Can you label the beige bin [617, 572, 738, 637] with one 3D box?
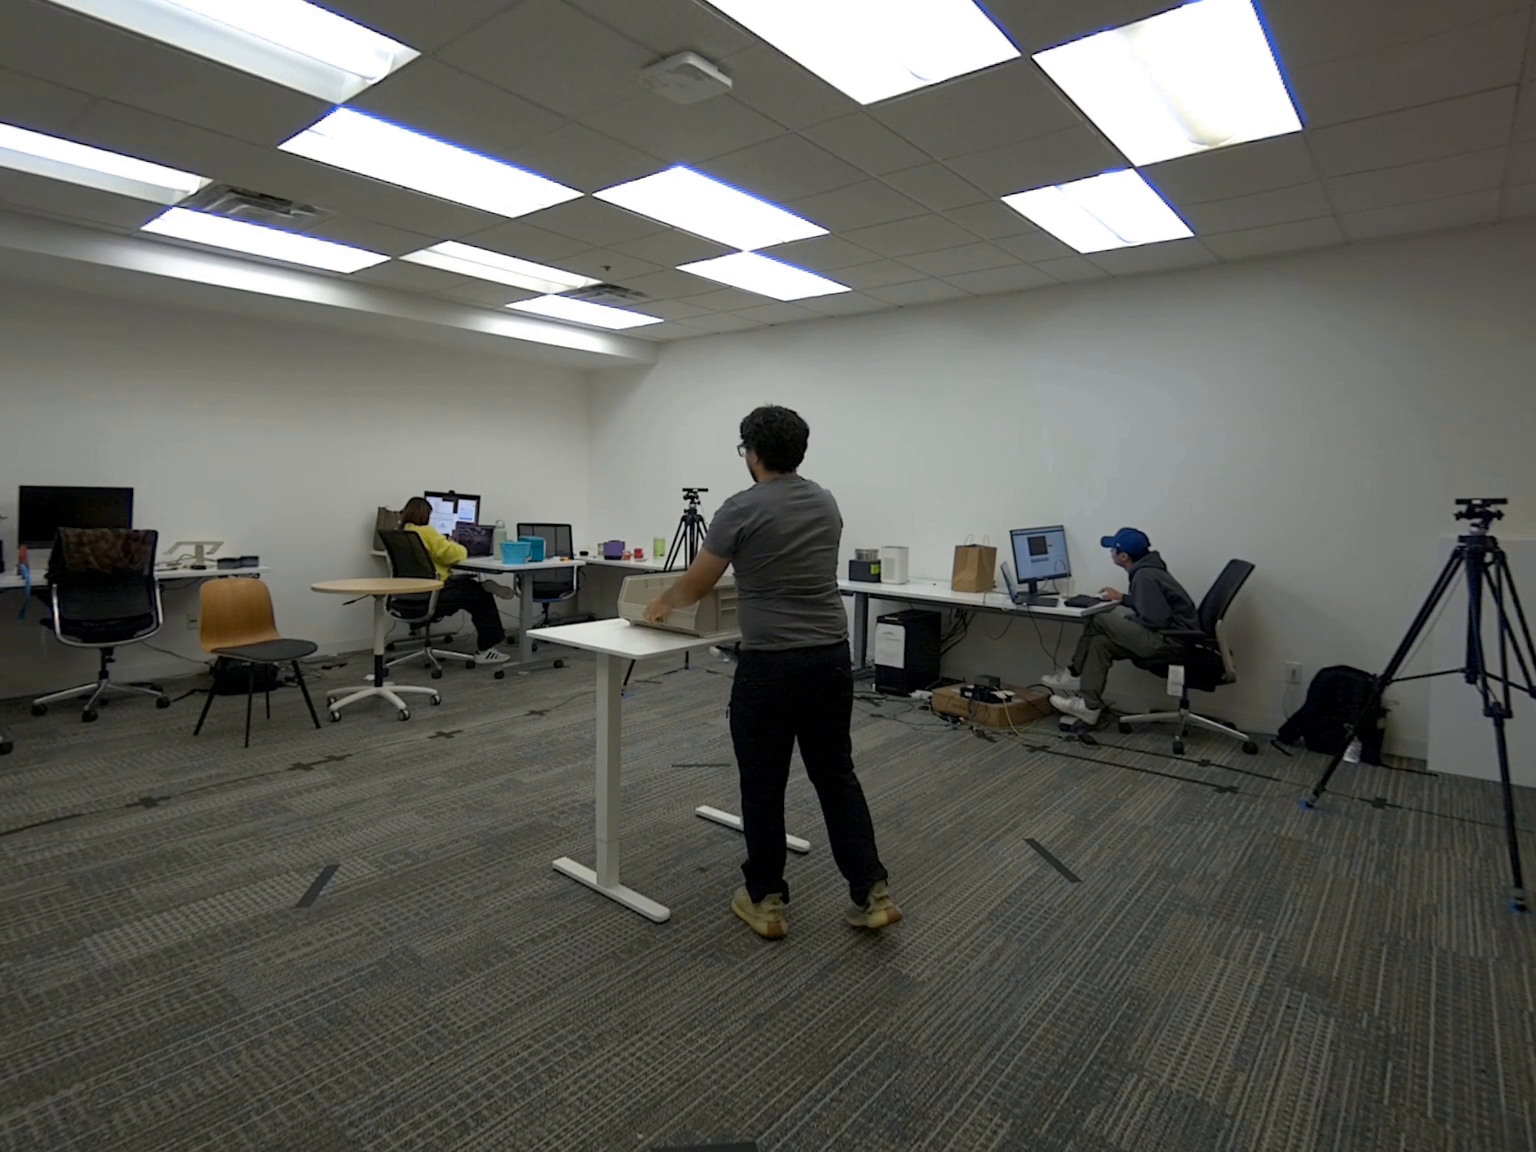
[{"bbox_3d":[-0.276,0.097,3.099,0.437,0.188,0.366,5,6,44],"label":"beige bin"}]
